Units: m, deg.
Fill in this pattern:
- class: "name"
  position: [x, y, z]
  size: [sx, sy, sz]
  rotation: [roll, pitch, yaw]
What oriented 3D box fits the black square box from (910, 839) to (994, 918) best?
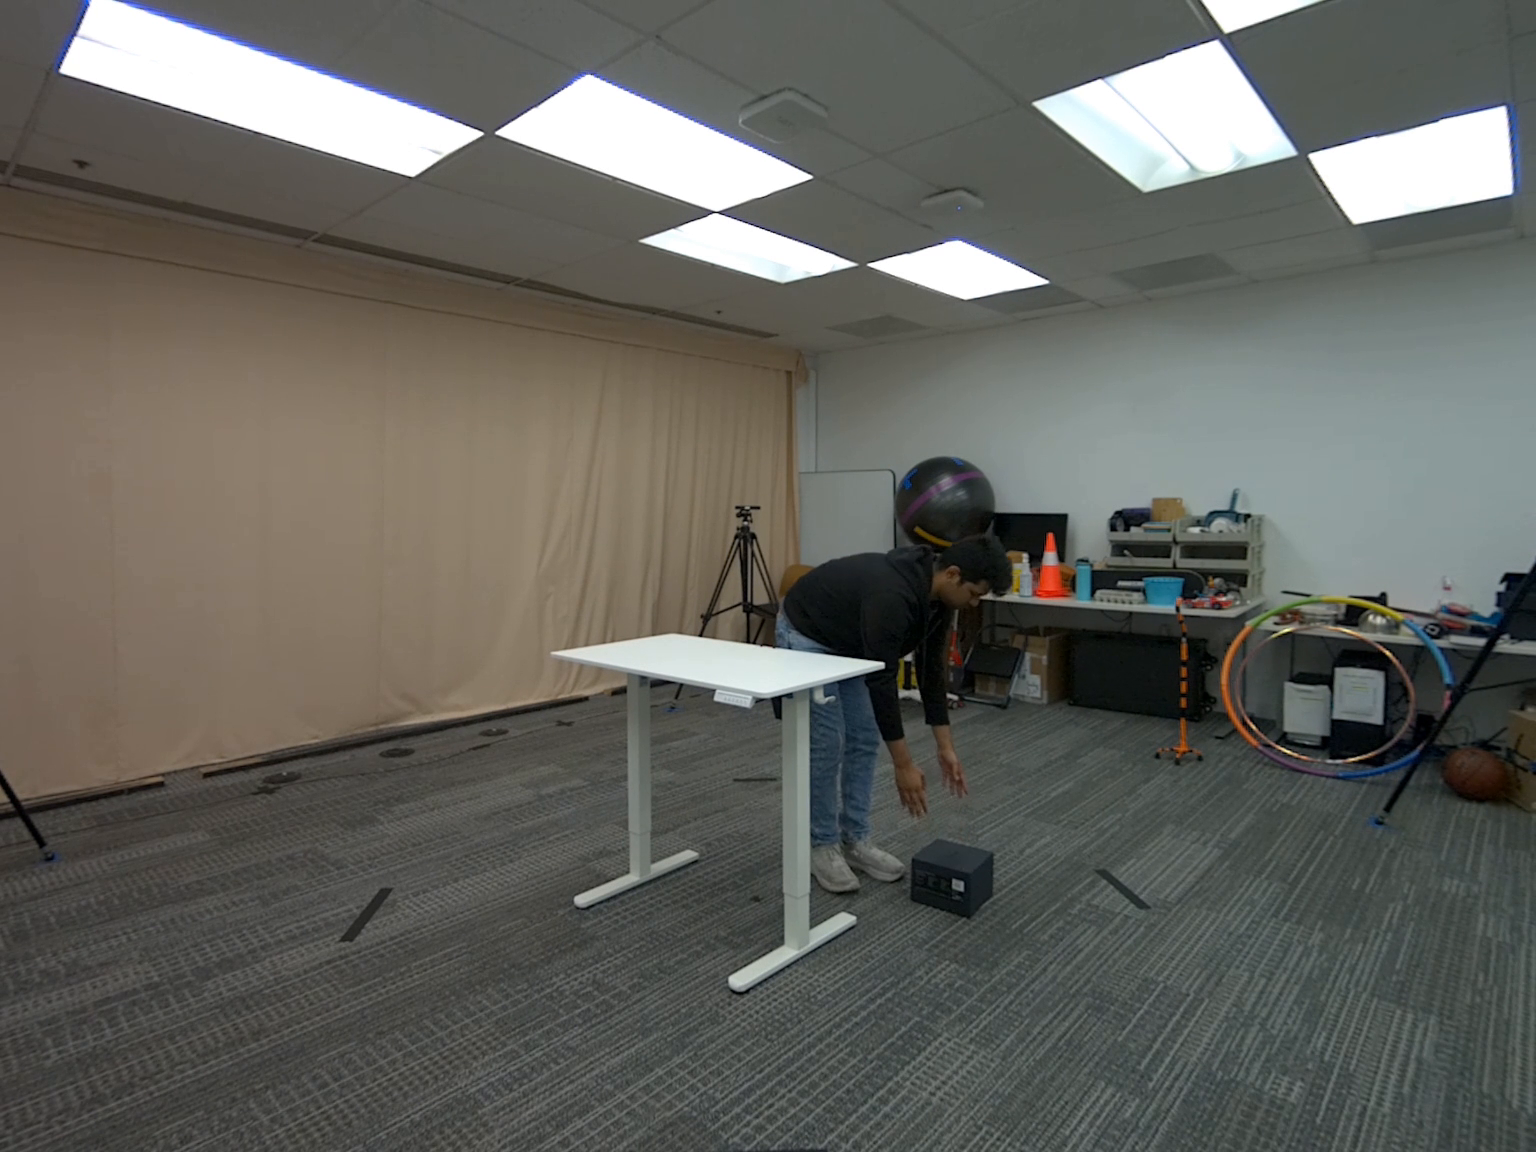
- class: "black square box"
  position: [0.656, 1.058, 2.977]
  size: [0.224, 0.155, 0.221]
  rotation: [2, 4, 35]
